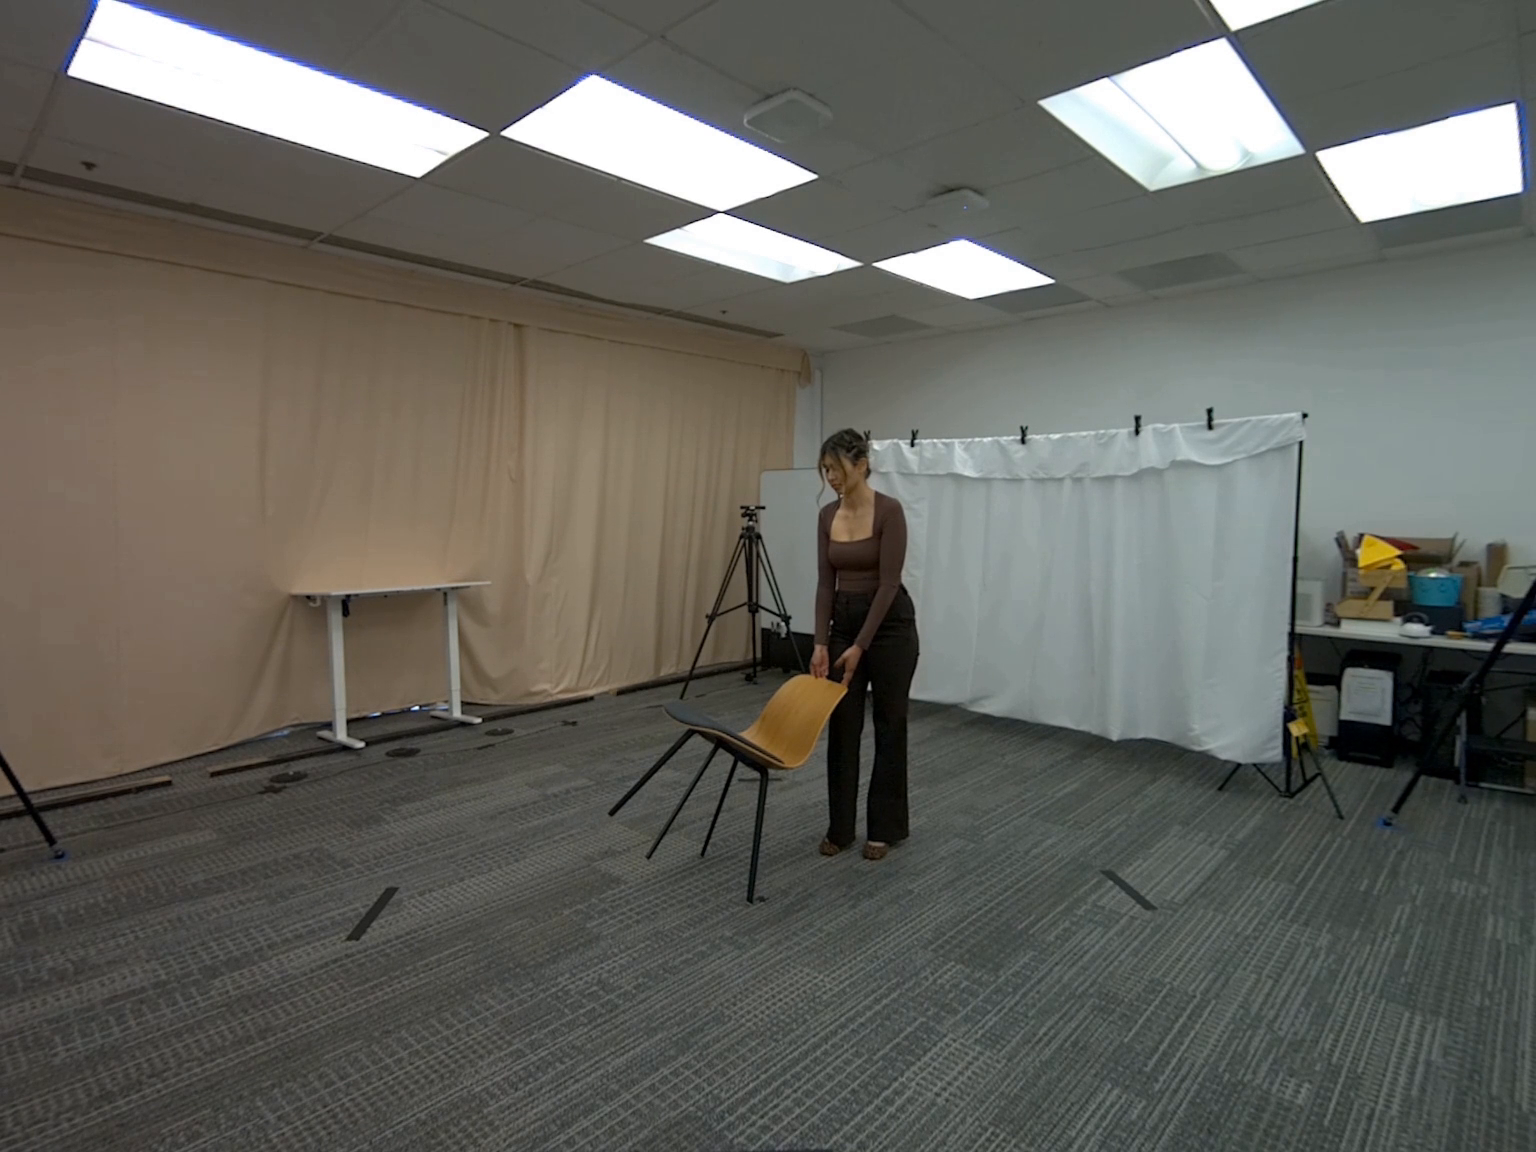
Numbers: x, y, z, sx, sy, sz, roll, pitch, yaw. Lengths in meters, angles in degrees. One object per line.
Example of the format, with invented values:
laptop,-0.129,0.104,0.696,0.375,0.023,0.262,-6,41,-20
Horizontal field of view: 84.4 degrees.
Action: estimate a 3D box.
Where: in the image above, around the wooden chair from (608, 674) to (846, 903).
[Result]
wooden chair,-0.139,0.645,3.122,0.510,0.877,0.491,36,-12,-23
